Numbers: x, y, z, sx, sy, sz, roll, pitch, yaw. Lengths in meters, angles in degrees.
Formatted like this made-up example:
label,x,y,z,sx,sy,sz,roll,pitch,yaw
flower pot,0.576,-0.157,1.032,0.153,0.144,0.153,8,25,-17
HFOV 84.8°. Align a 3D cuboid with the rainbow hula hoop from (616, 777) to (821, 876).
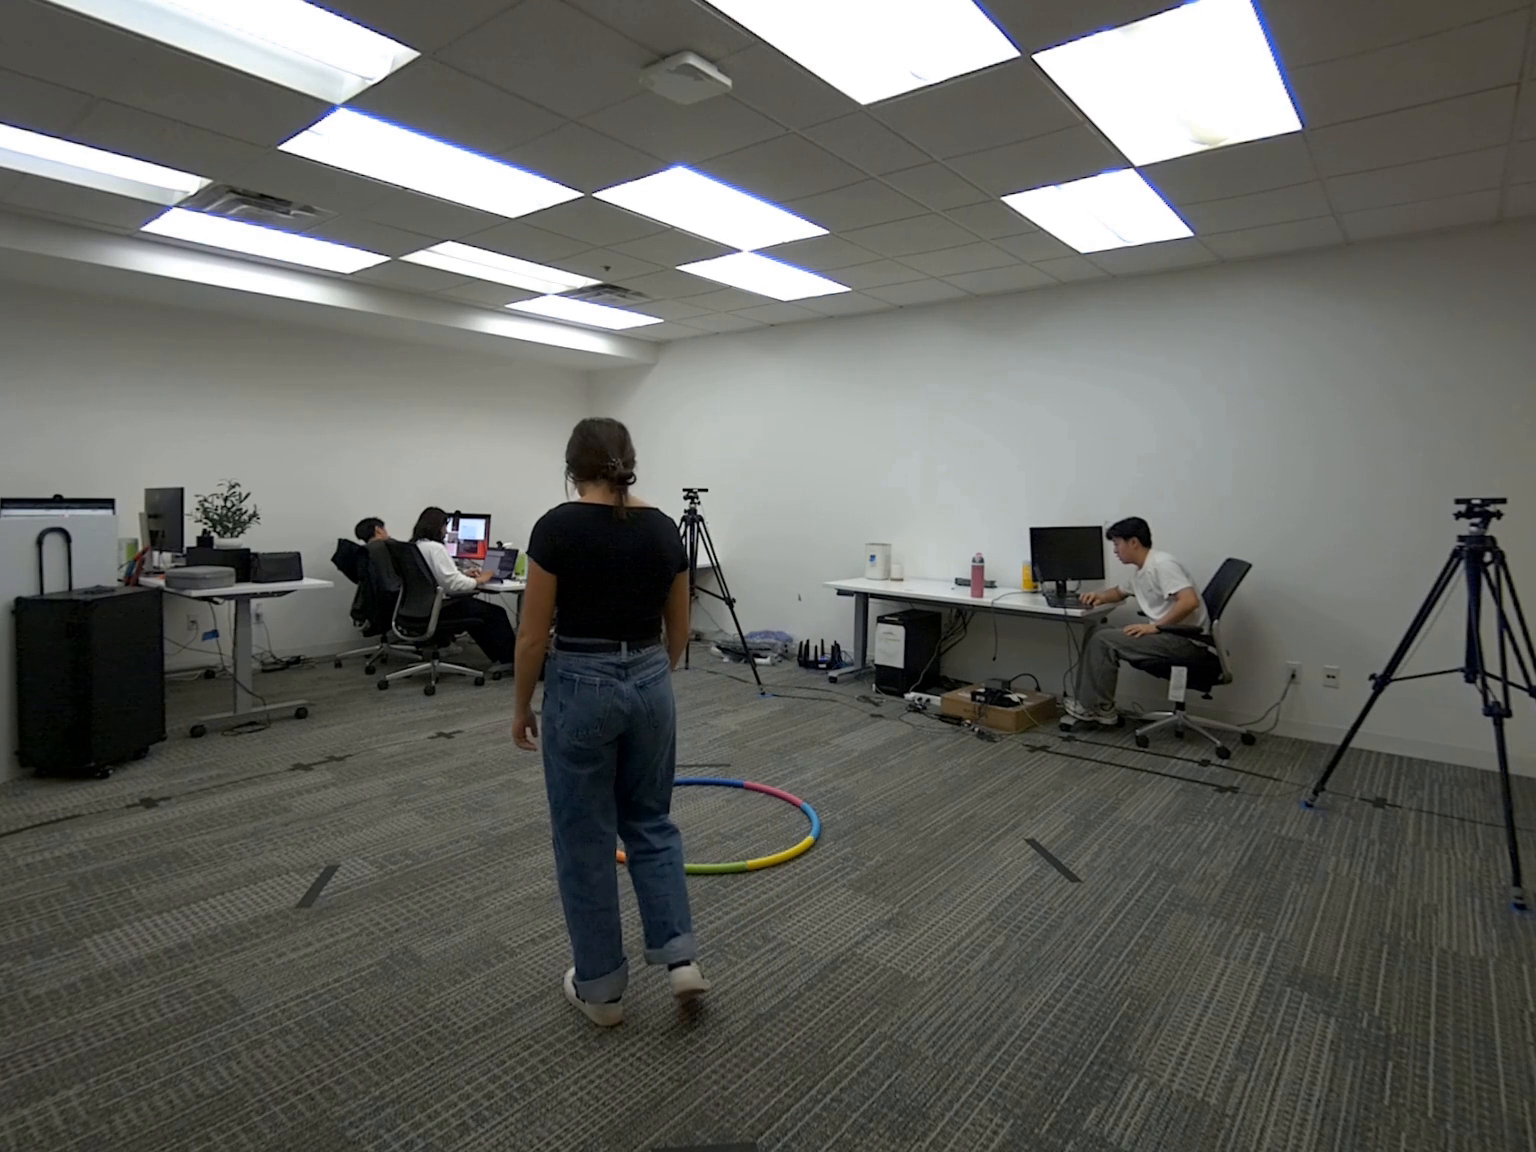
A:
label,x,y,z,sx,sy,sz,roll,pitch,yaw
rainbow hula hoop,-0.277,0.988,3.541,0.978,0.035,0.984,1,6,-2
